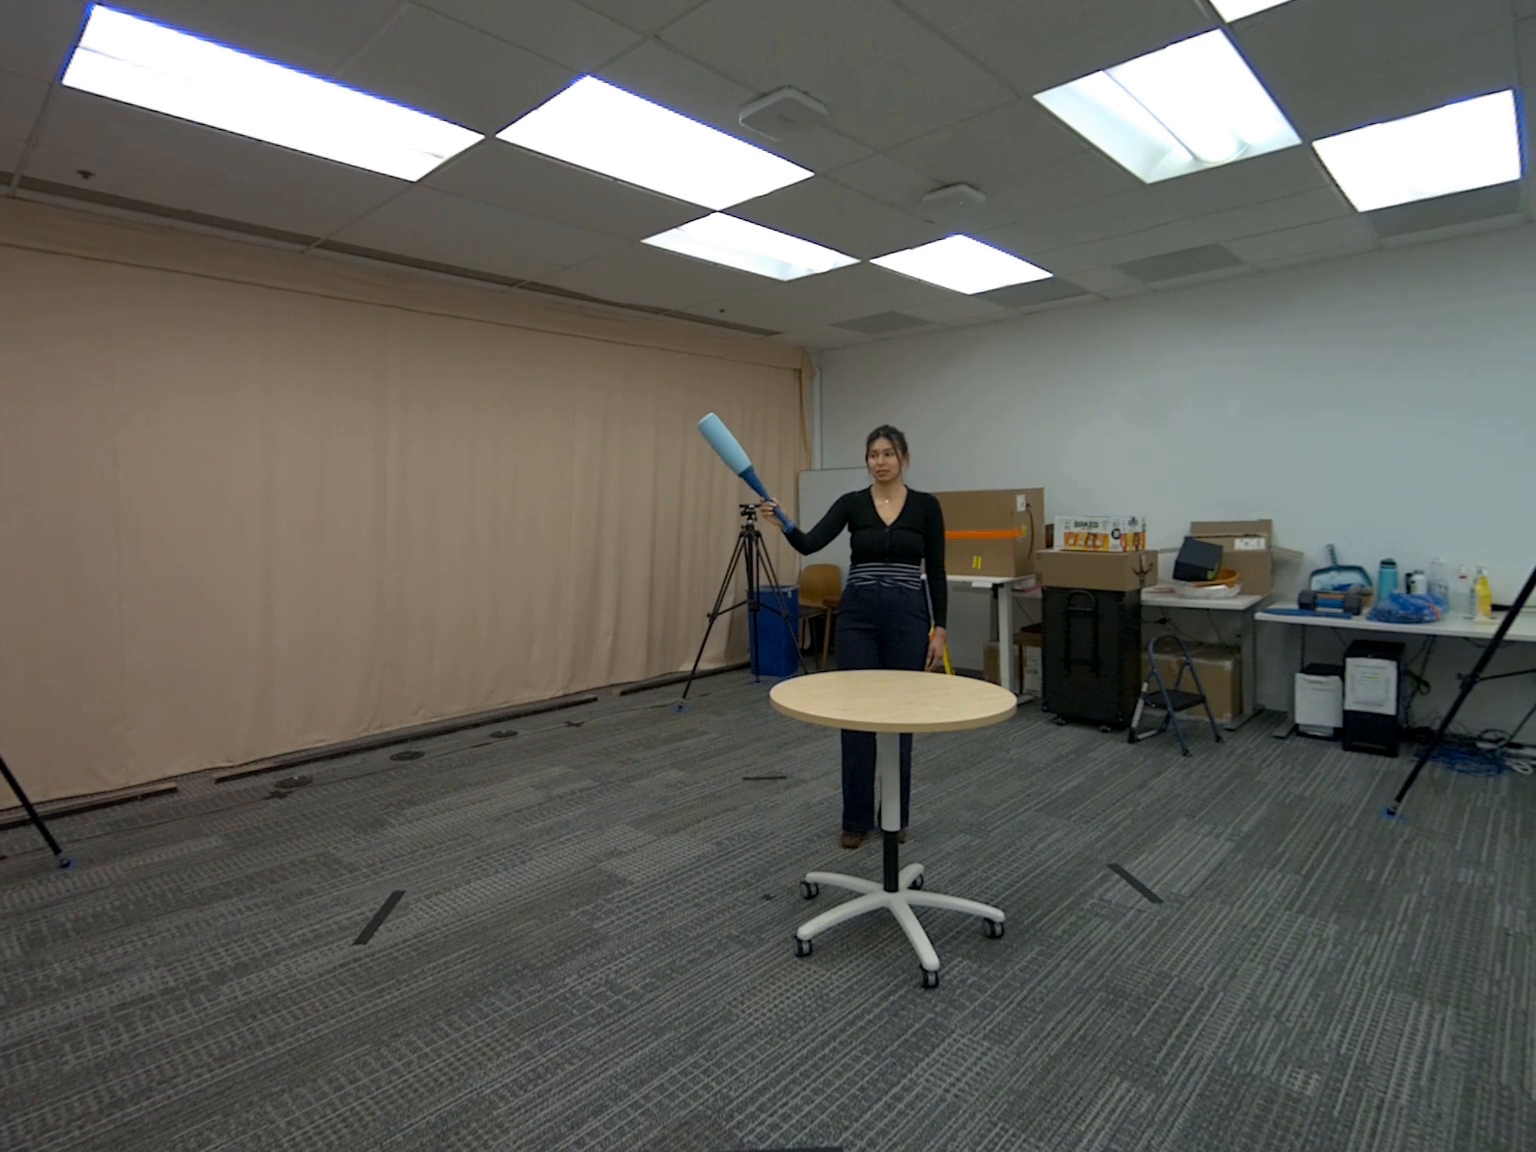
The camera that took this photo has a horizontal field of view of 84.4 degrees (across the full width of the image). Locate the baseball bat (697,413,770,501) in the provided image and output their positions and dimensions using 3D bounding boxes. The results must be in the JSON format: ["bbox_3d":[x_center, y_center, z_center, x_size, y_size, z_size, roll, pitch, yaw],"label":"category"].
[{"bbox_3d":[-0.067,-0.384,3.193,0.089,0.543,0.089,-37,0,-1],"label":"baseball bat"}]
